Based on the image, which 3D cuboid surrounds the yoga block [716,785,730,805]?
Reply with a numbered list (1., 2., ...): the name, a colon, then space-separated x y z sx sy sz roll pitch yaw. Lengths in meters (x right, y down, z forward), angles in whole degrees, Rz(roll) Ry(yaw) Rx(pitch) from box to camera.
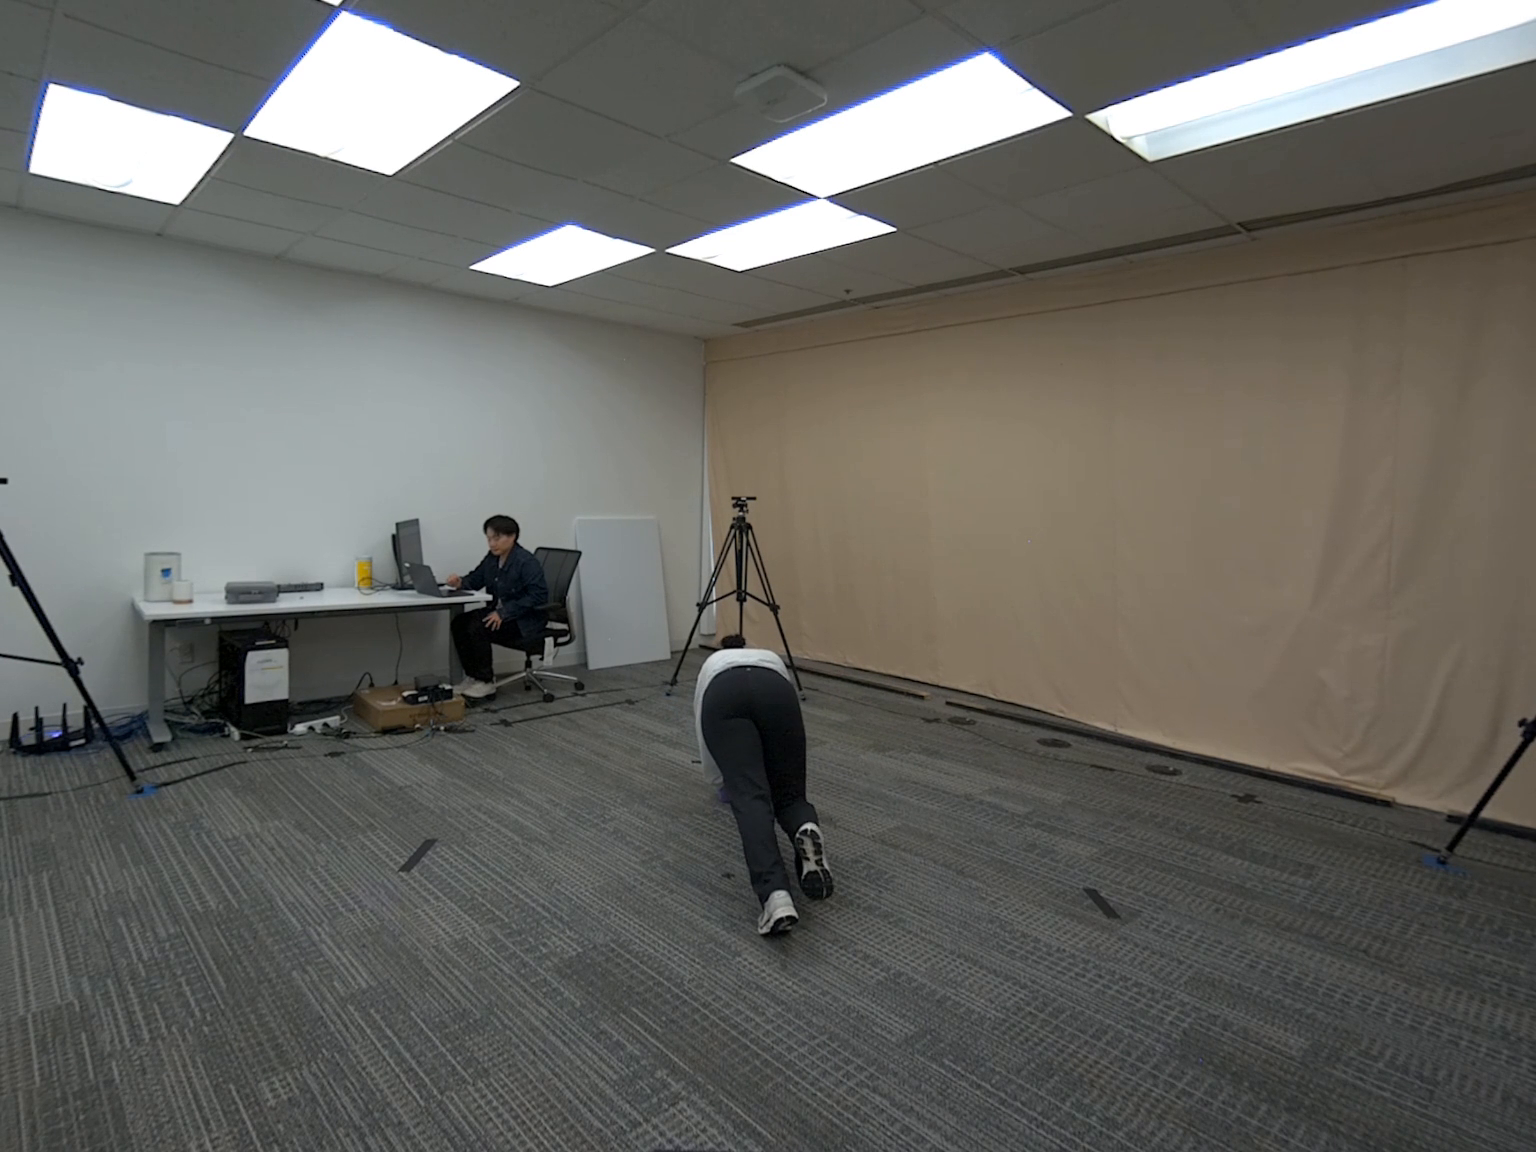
1. yoga block: -0.131 1.007 3.946 0.227 0.076 0.151 -1 7 -12
